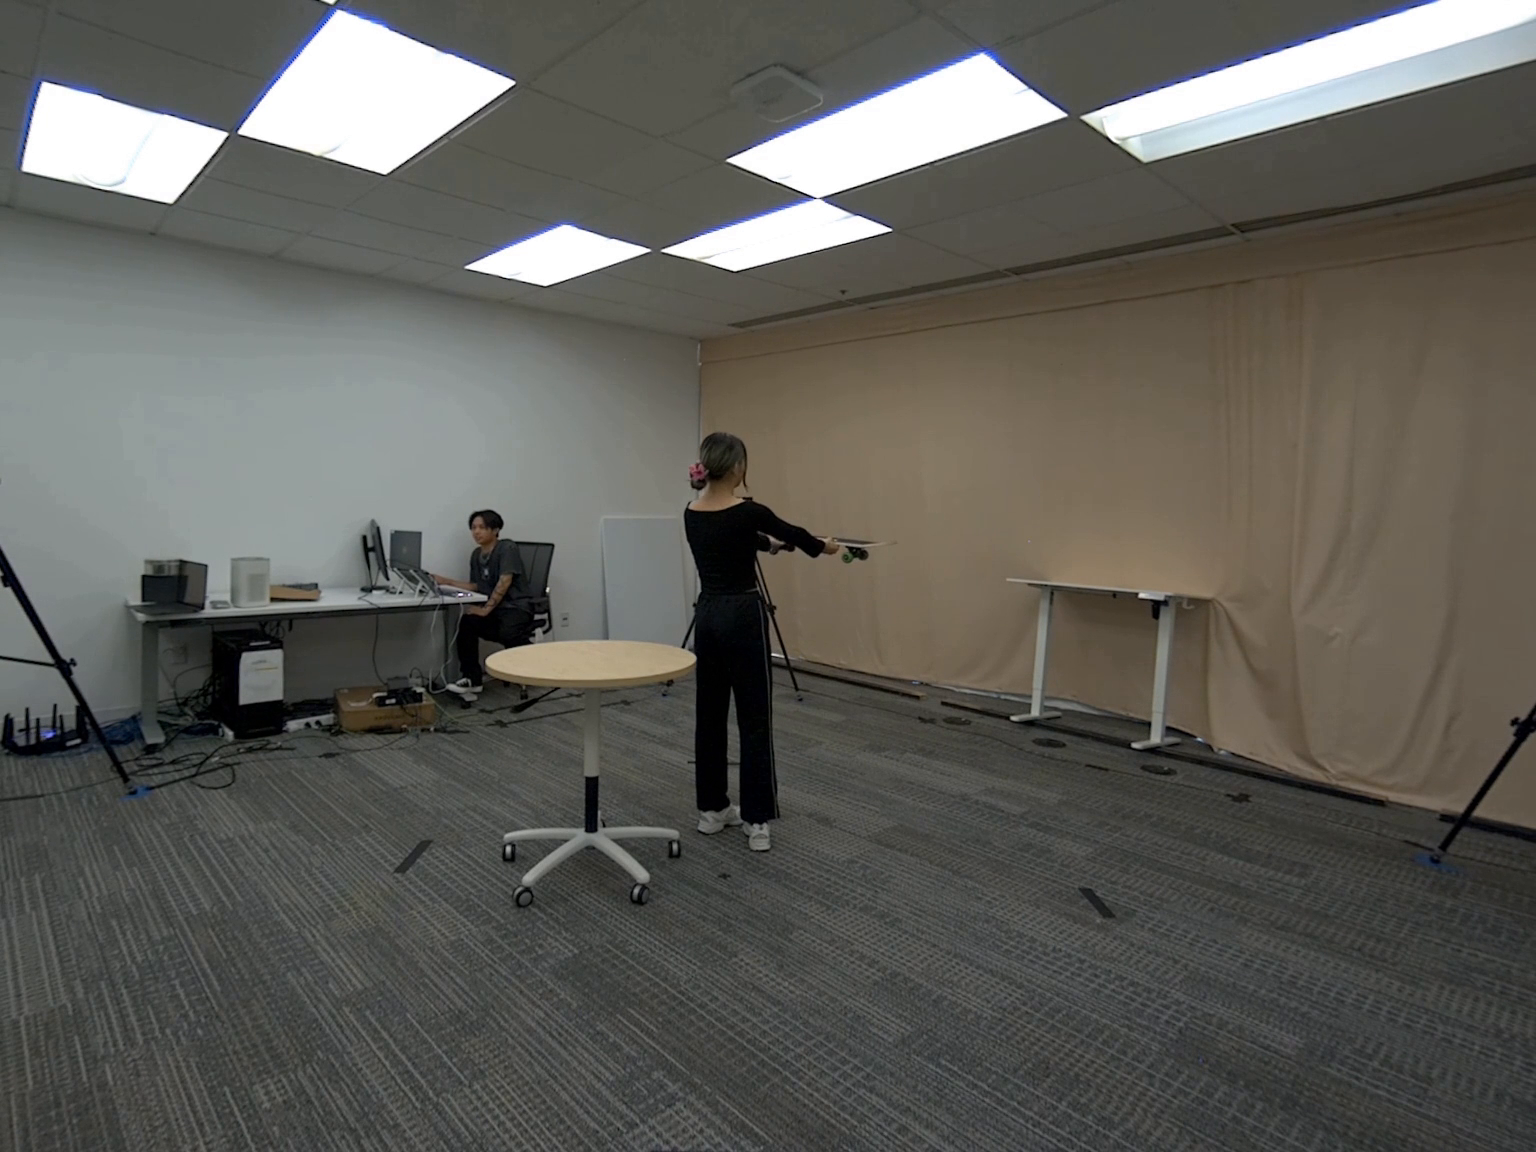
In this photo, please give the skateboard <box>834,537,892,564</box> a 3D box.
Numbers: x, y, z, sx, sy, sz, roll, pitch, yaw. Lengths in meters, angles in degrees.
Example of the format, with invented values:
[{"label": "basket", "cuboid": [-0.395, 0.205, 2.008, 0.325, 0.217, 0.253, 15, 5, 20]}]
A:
[{"label": "skateboard", "cuboid": [0.225, -0.145, 3.981, 0.806, 0.110, 0.189, 8, 8, 38]}]
